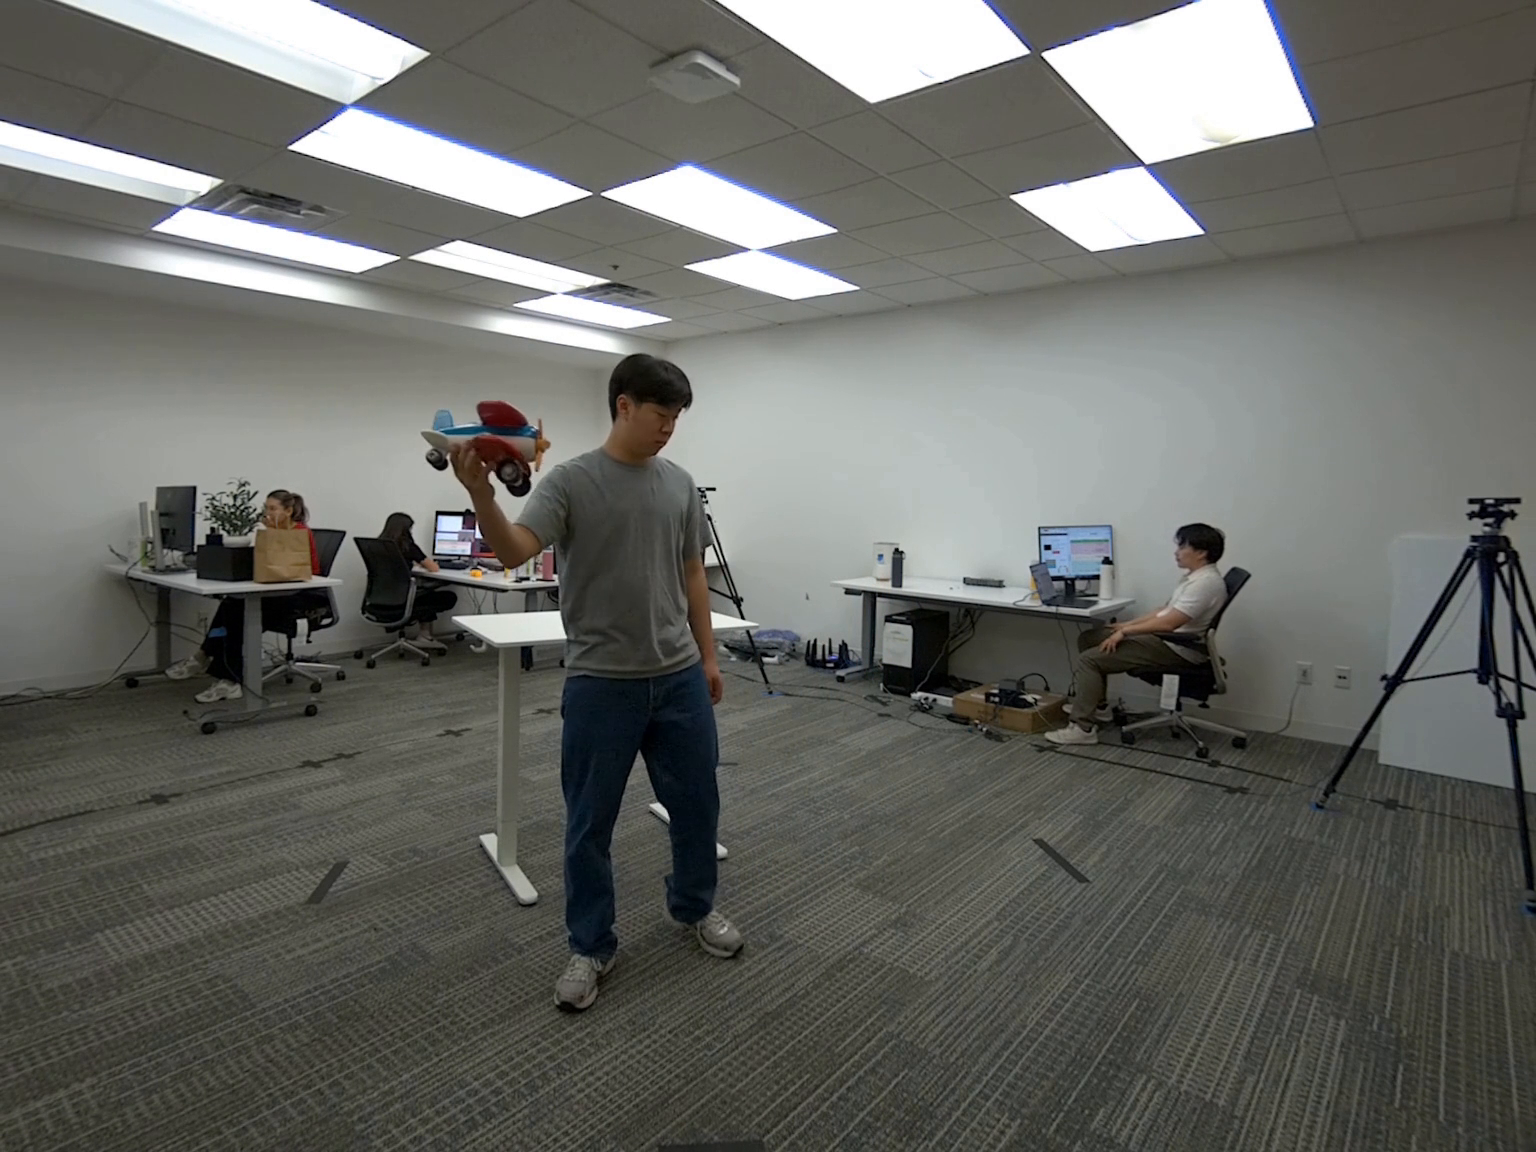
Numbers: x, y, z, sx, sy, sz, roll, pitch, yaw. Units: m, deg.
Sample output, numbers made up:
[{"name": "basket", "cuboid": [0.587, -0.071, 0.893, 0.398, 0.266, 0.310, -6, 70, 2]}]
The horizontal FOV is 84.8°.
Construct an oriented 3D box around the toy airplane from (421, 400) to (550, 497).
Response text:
[{"name": "toy airplane", "cuboid": [-0.617, -0.293, 1.848, 0.252, 0.157, 0.256, 23, -14, -24]}]
